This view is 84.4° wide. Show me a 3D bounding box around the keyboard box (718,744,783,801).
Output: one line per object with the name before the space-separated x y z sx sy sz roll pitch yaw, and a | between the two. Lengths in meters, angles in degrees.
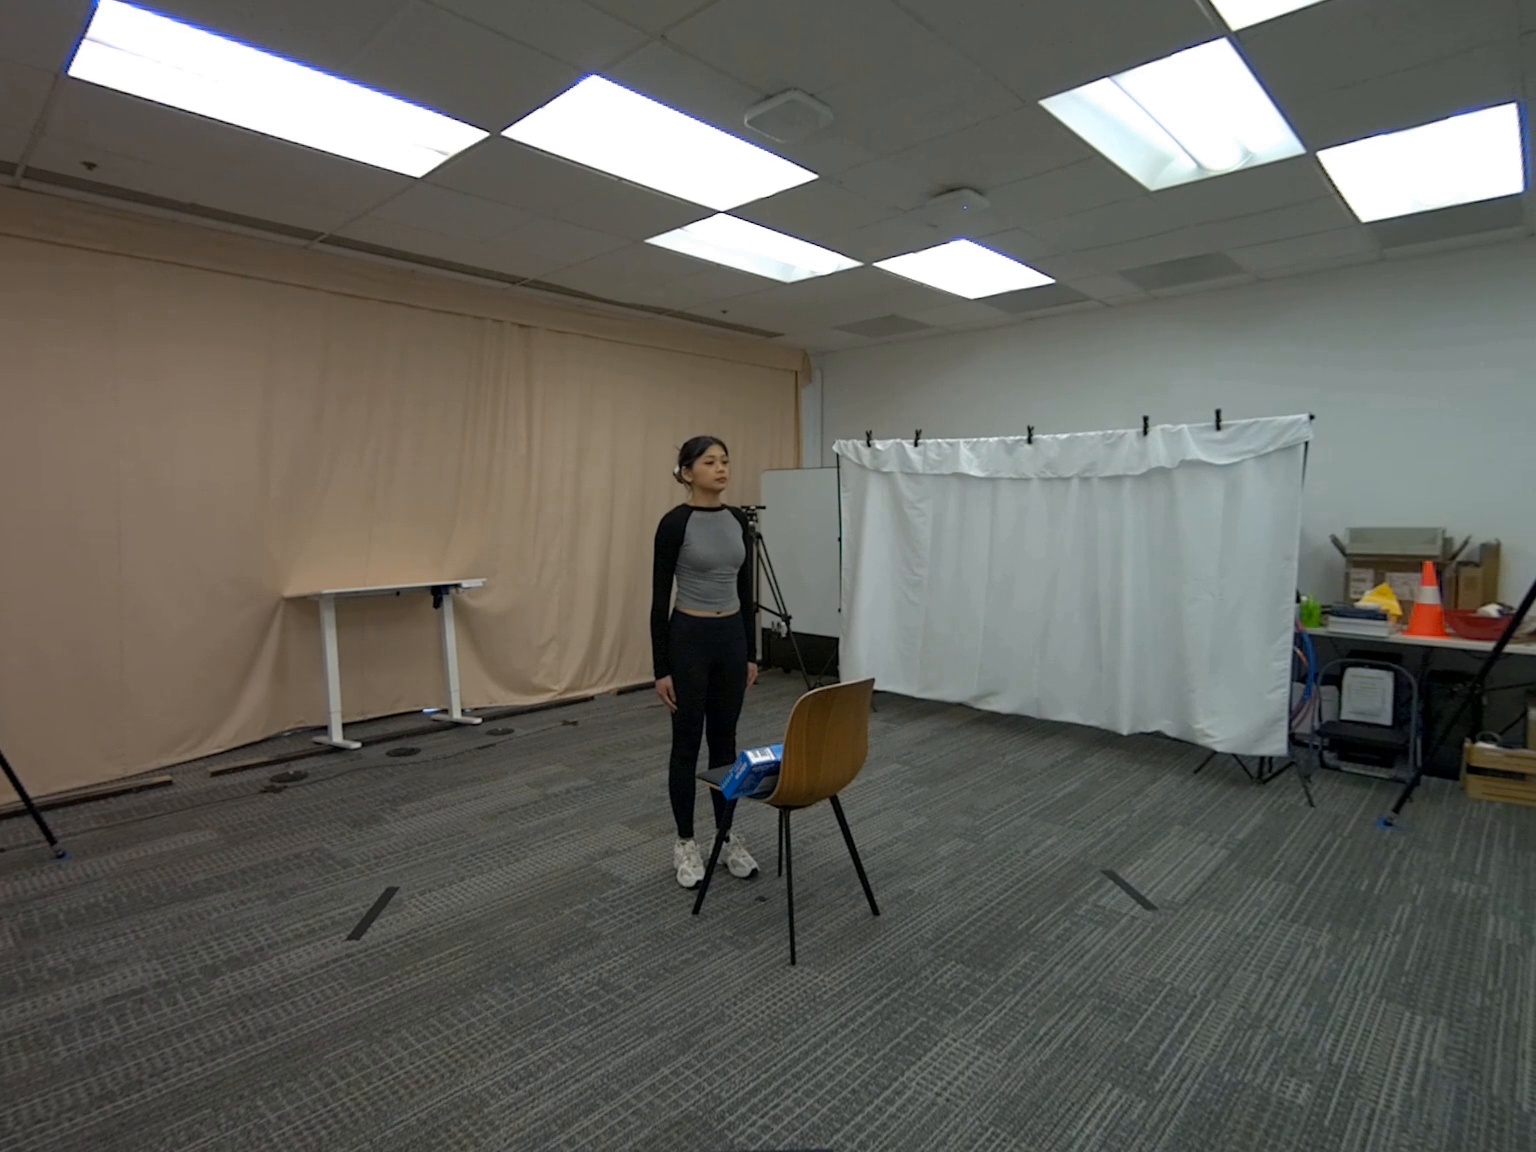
keyboard box | 0.065 0.609 2.679 0.423 0.176 0.061 1 42 -39
